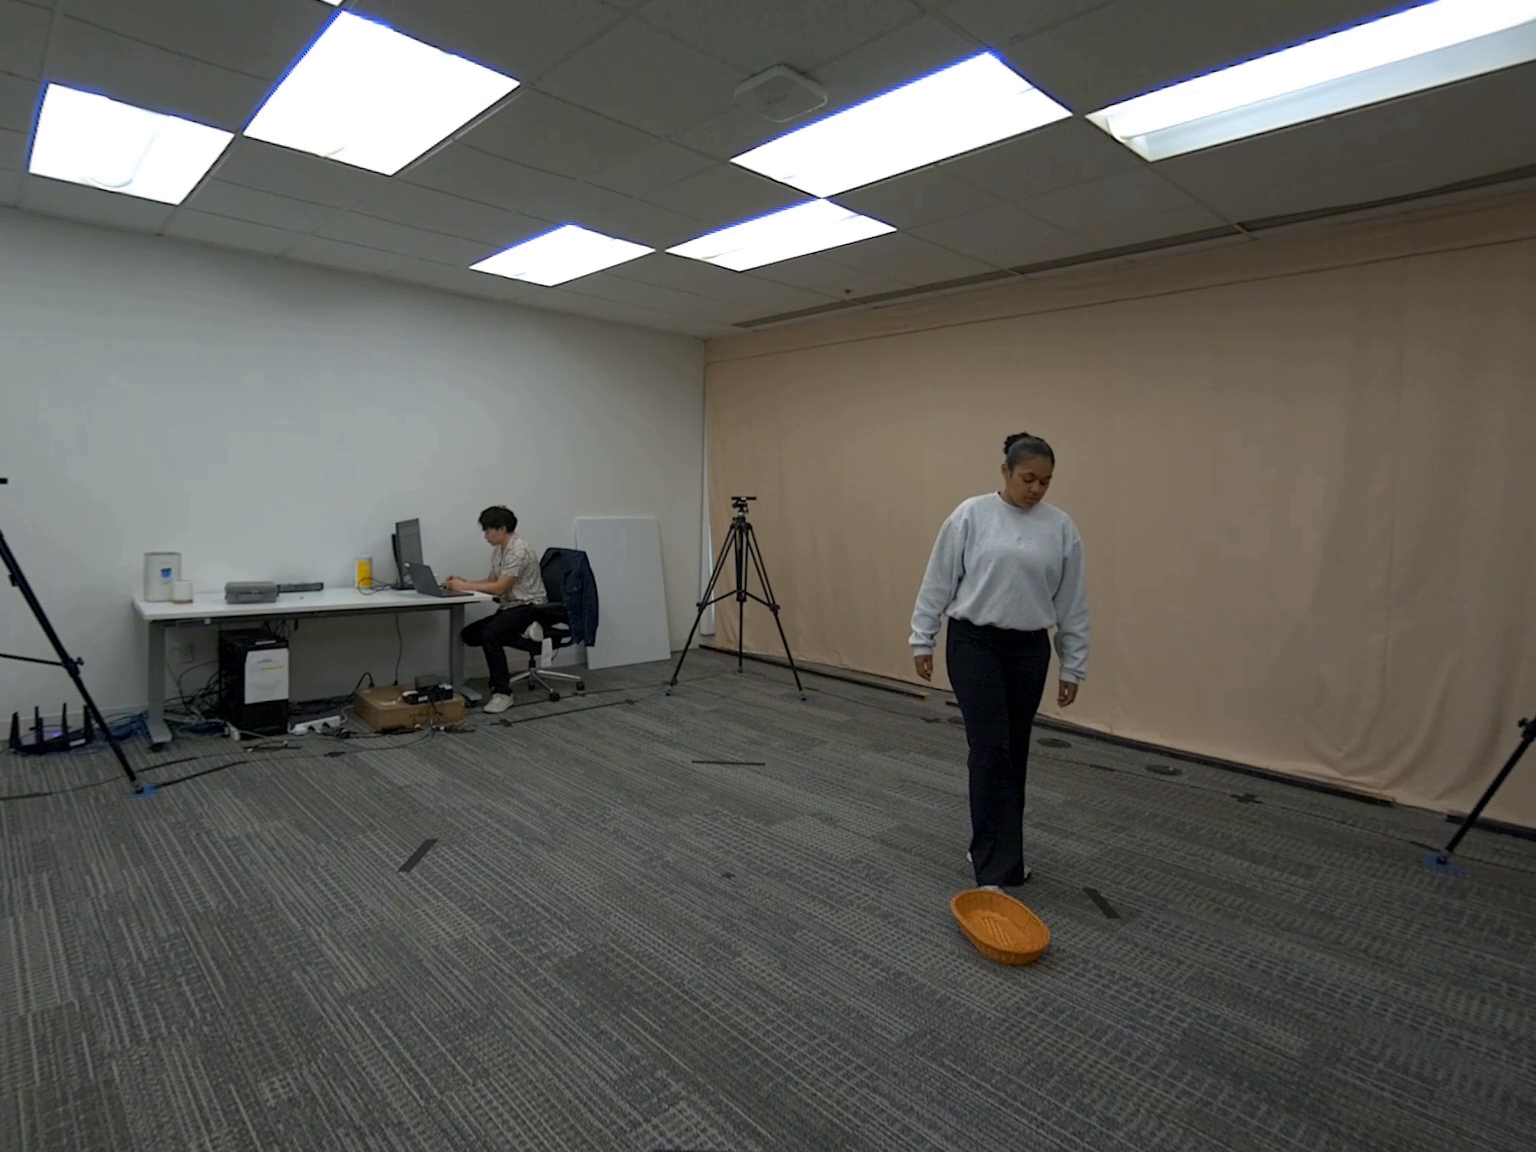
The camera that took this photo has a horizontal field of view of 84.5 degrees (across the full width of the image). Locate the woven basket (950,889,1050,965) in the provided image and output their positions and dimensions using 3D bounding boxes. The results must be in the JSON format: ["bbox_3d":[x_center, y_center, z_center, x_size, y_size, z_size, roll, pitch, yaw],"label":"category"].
[{"bbox_3d":[0.720,1.121,2.687,0.250,0.073,0.355,-2,9,-12],"label":"woven basket"}]
